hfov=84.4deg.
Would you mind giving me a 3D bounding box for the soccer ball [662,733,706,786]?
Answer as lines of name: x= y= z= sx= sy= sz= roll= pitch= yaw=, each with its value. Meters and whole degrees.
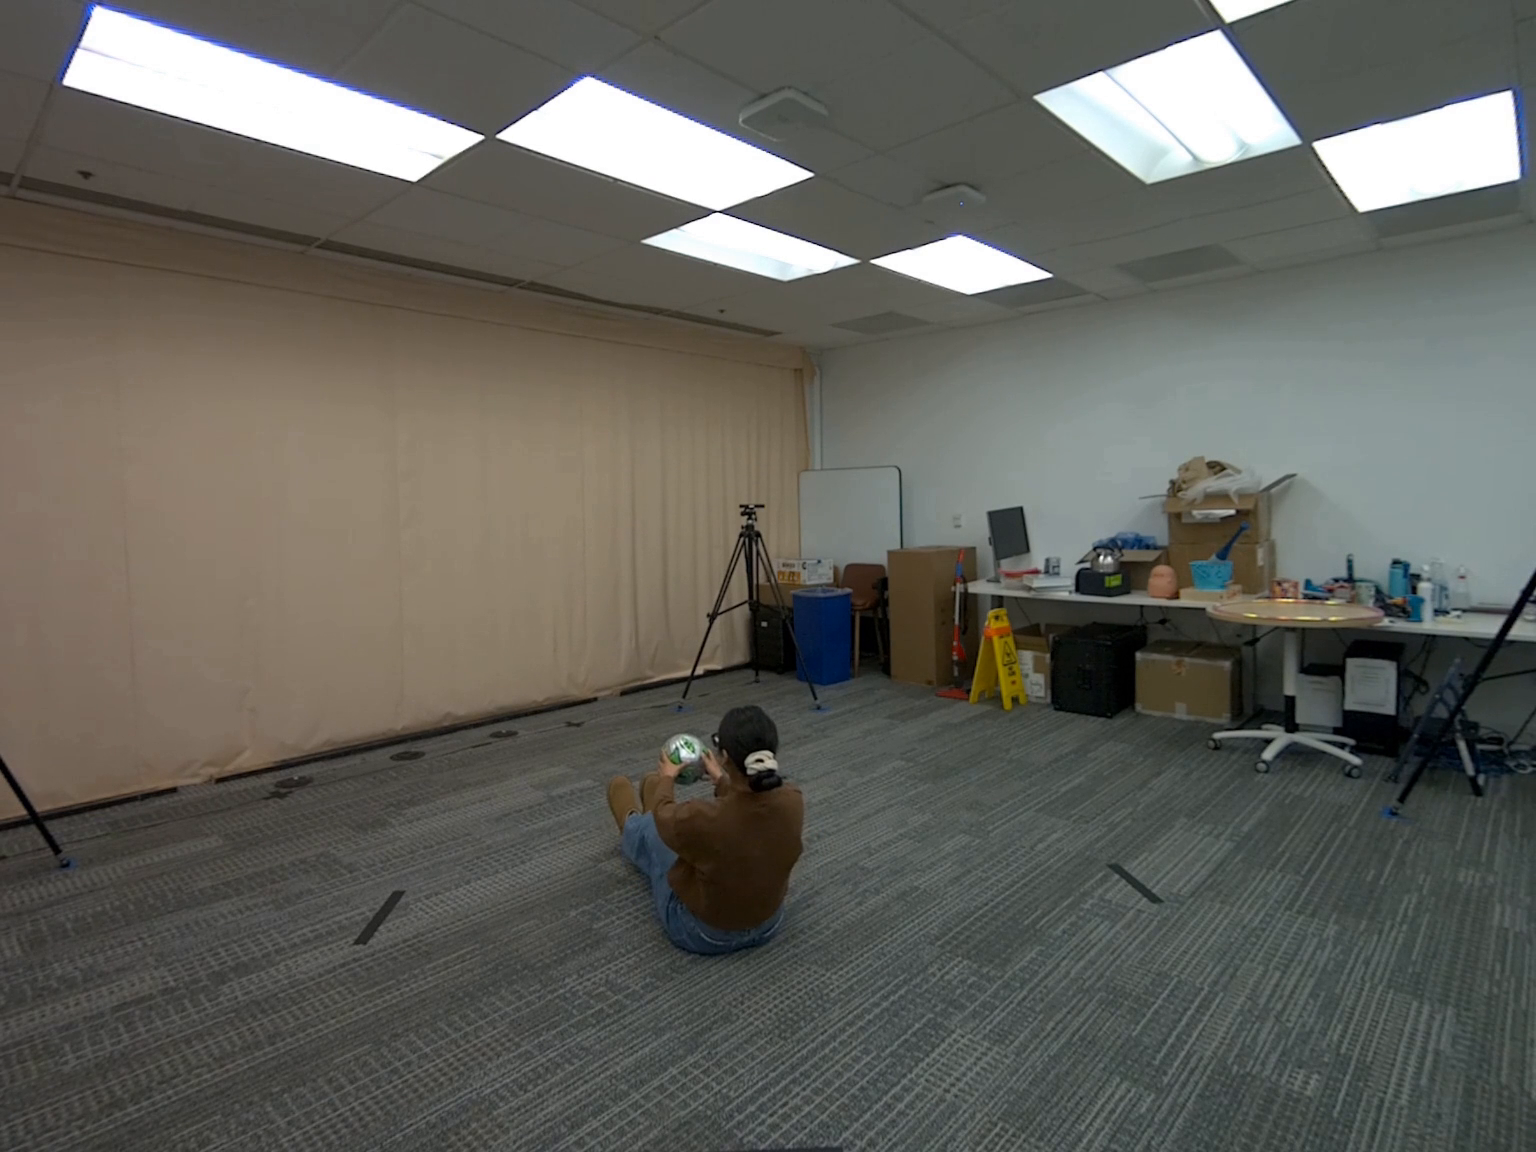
soccer ball: x=-0.307 y=0.688 z=3.137 sx=0.187 sy=0.187 sz=0.188 roll=-1 pitch=4 yaw=-2
